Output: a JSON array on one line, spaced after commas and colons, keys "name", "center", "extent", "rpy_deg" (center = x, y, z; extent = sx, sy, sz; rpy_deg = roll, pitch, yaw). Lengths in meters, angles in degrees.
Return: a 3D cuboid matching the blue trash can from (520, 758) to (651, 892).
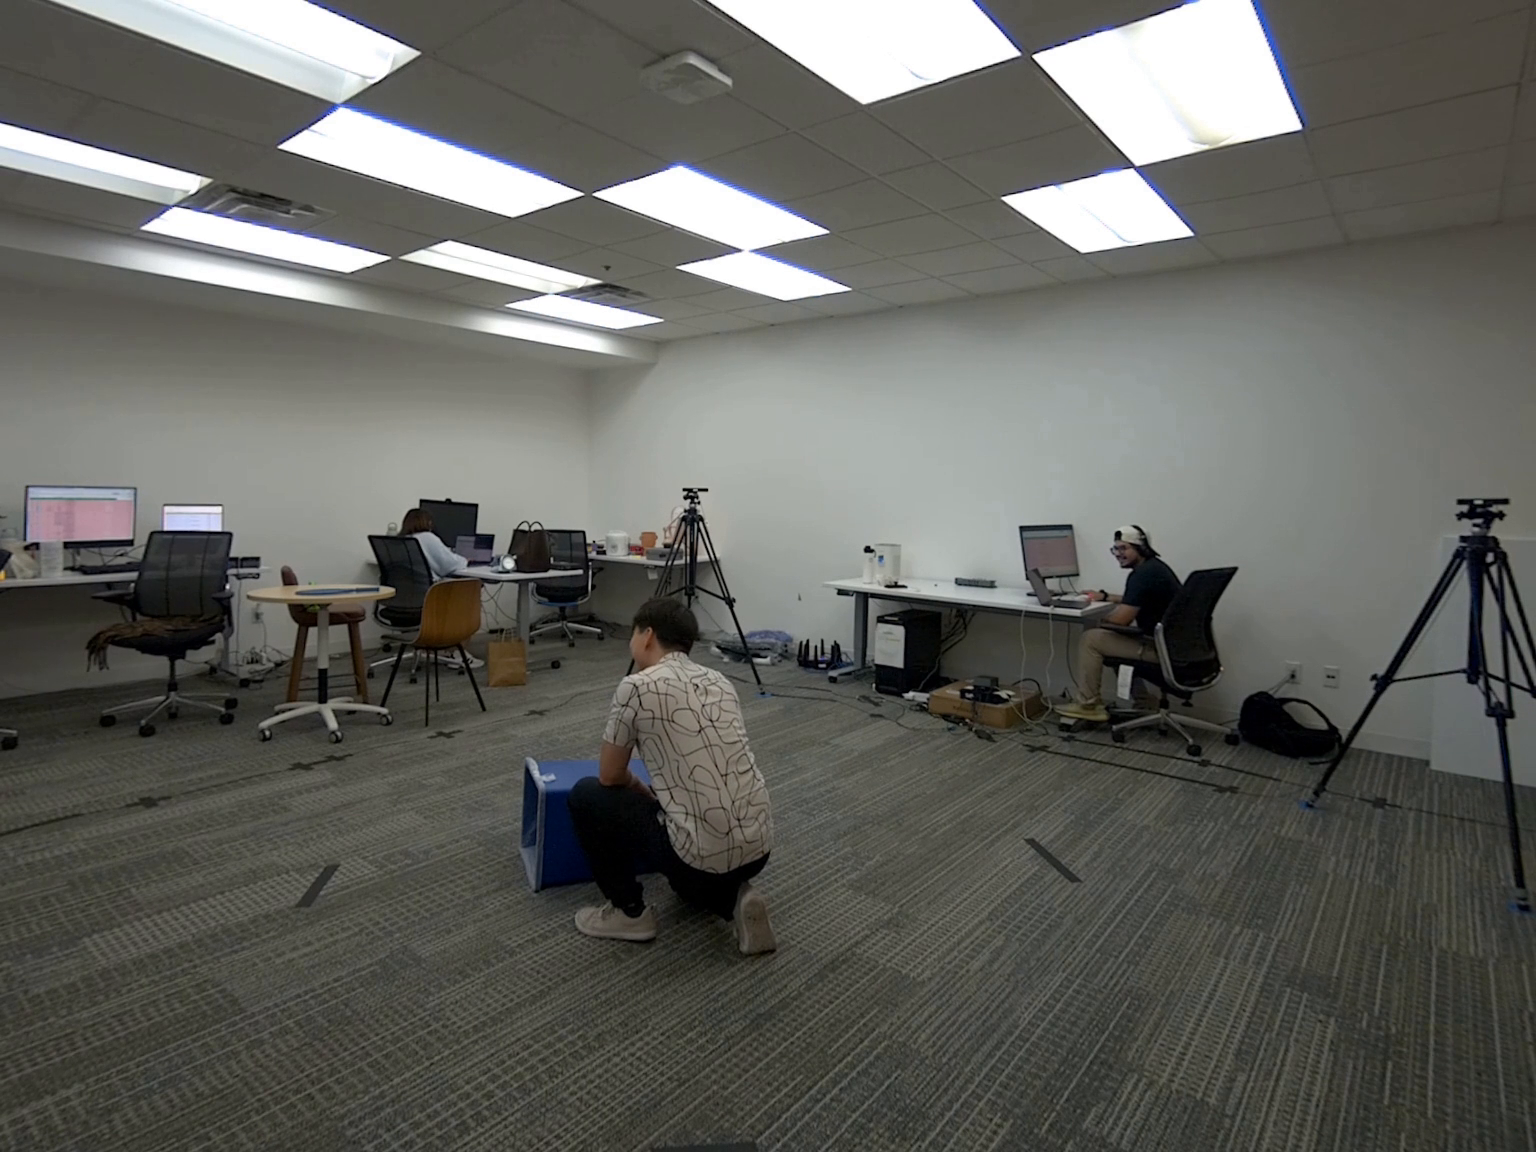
[{"name": "blue trash can", "center": [-0.545, 0.887, 3.175], "extent": [0.698, 0.373, 0.388], "rpy_deg": [3, 4, -22]}]
